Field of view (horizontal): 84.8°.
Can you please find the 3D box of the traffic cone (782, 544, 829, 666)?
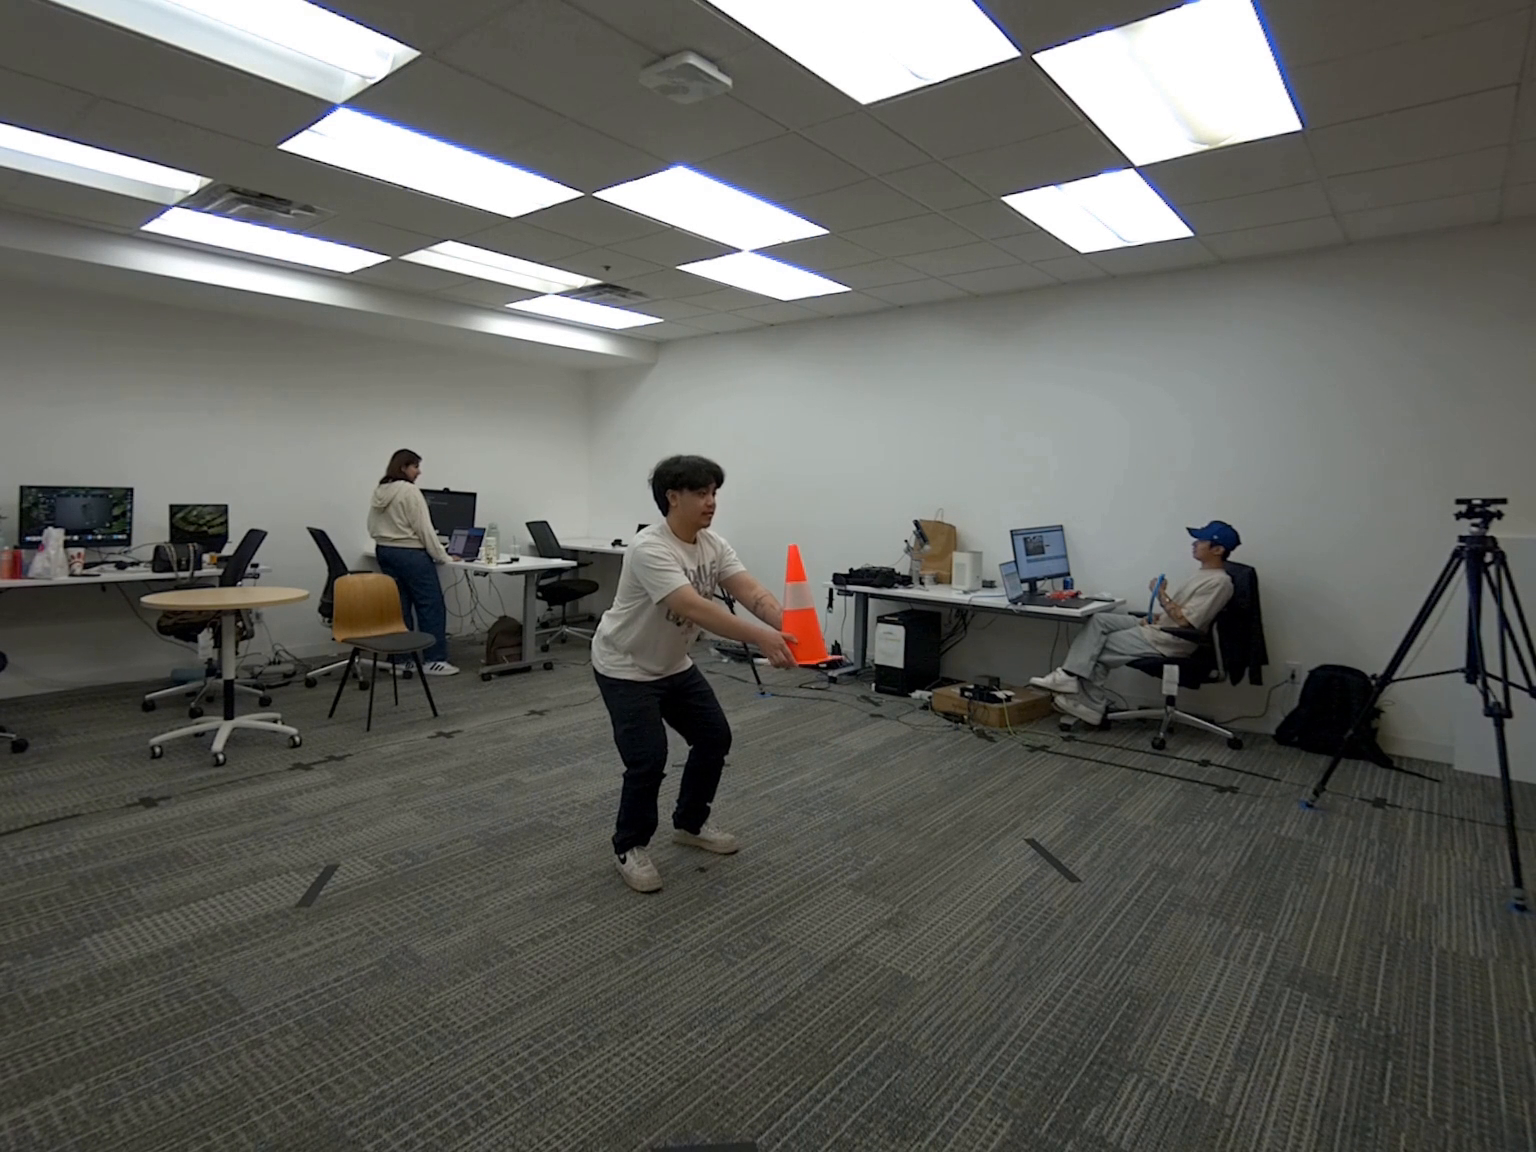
[{"bbox_3d":[0.096,0.087,2.800,0.208,0.384,0.200,-6,-1,26],"label":"traffic cone"}]
